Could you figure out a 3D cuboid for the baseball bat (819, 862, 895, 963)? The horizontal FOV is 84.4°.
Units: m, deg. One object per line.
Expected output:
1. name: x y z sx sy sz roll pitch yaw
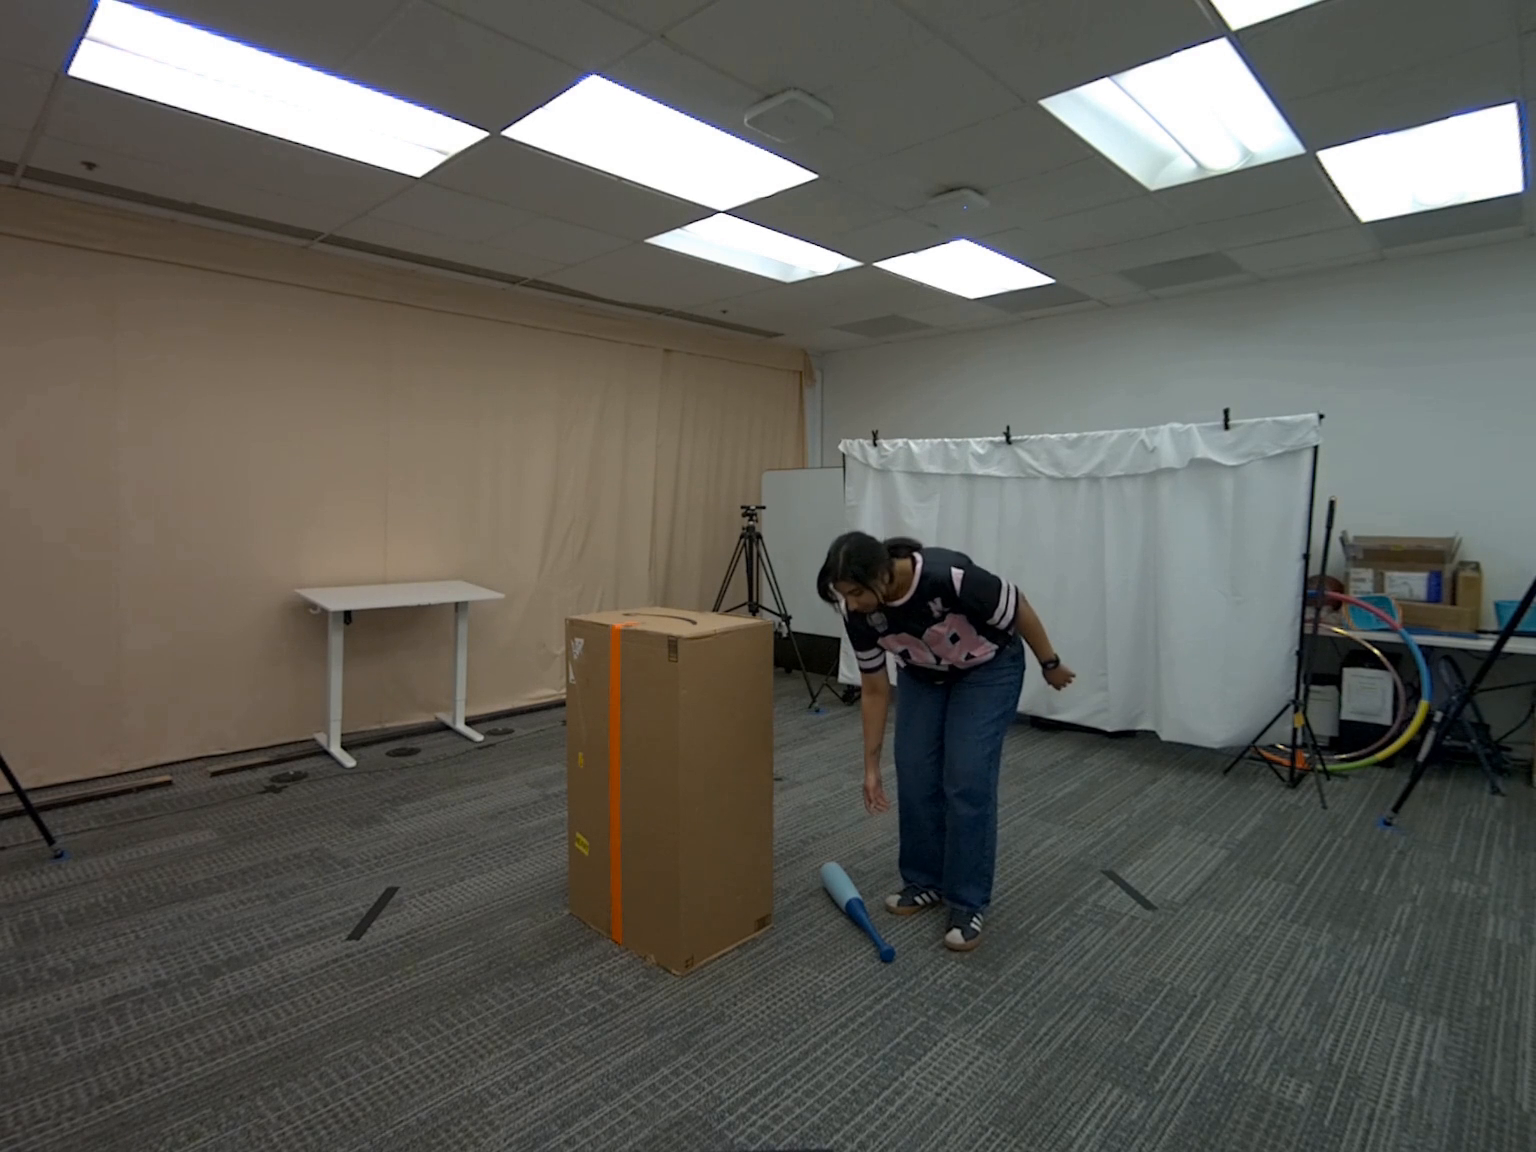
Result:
1. baseball bat: 0.299 1.125 2.814 0.088 0.088 0.552 -1 8 -14
